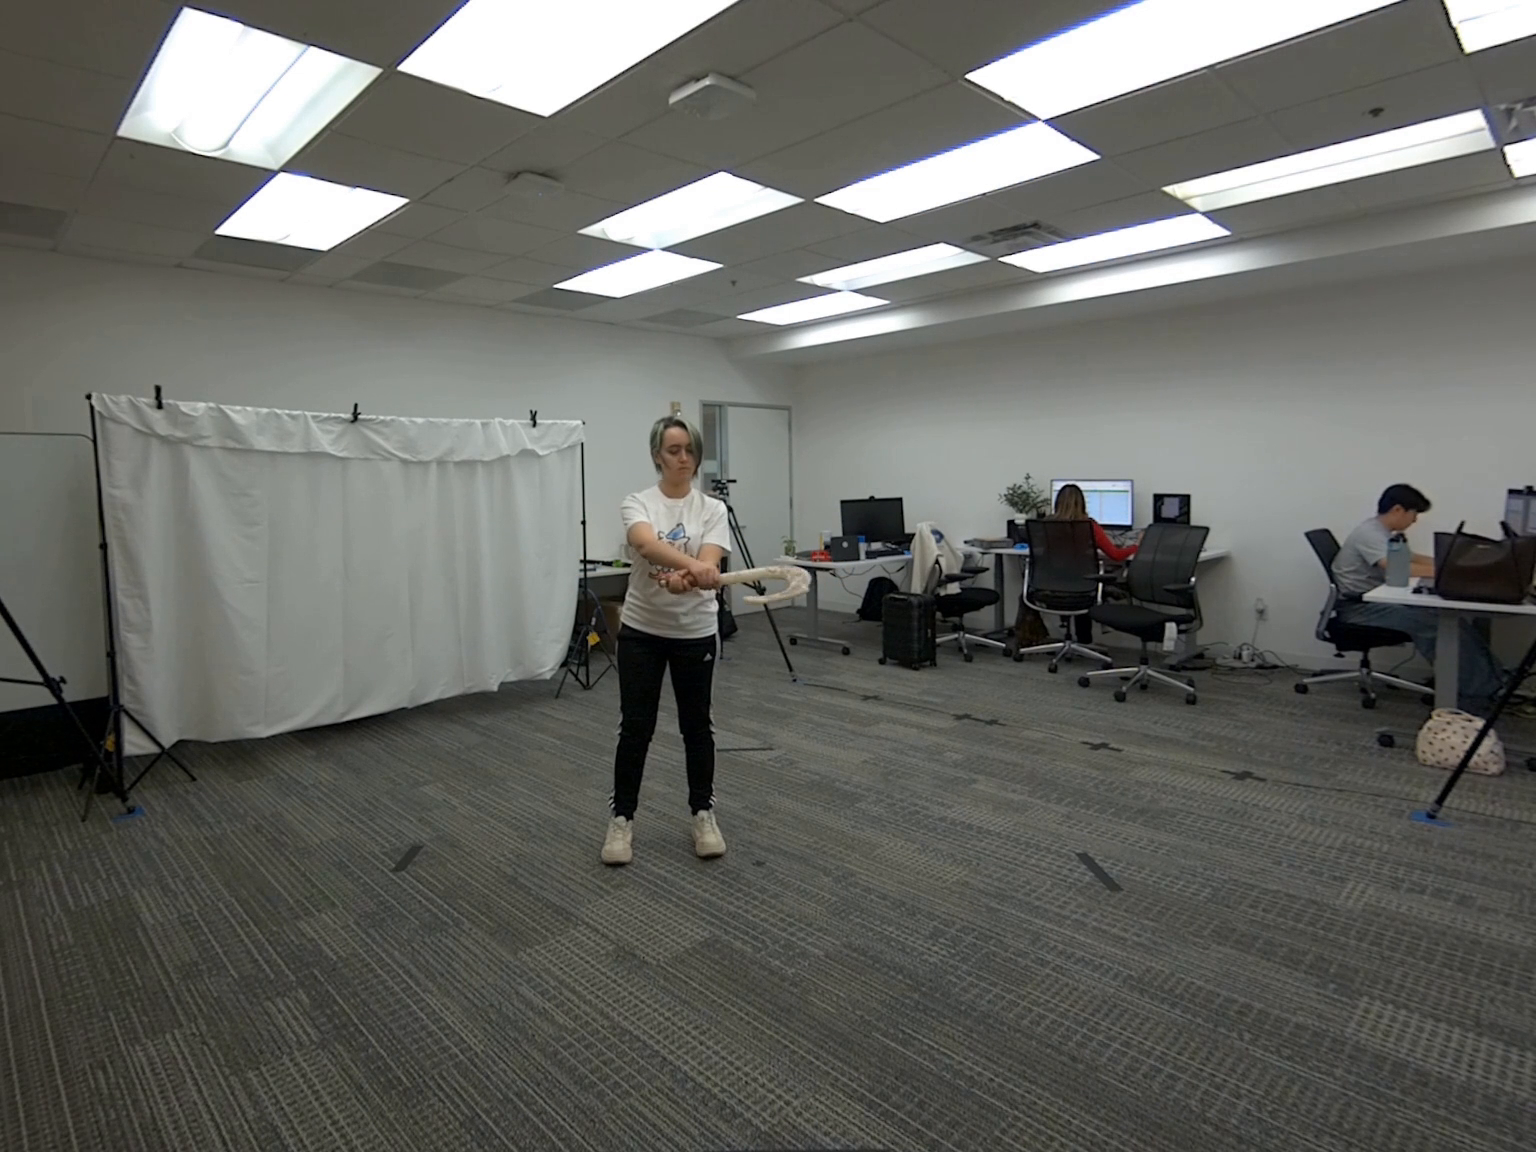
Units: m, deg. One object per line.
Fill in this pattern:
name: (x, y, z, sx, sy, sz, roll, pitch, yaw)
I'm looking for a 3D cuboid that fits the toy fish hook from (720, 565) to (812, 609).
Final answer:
toy fish hook: (-0.133, 0.034, 2.704, 0.512, 0.047, 0.226, -5, 21, 12)
